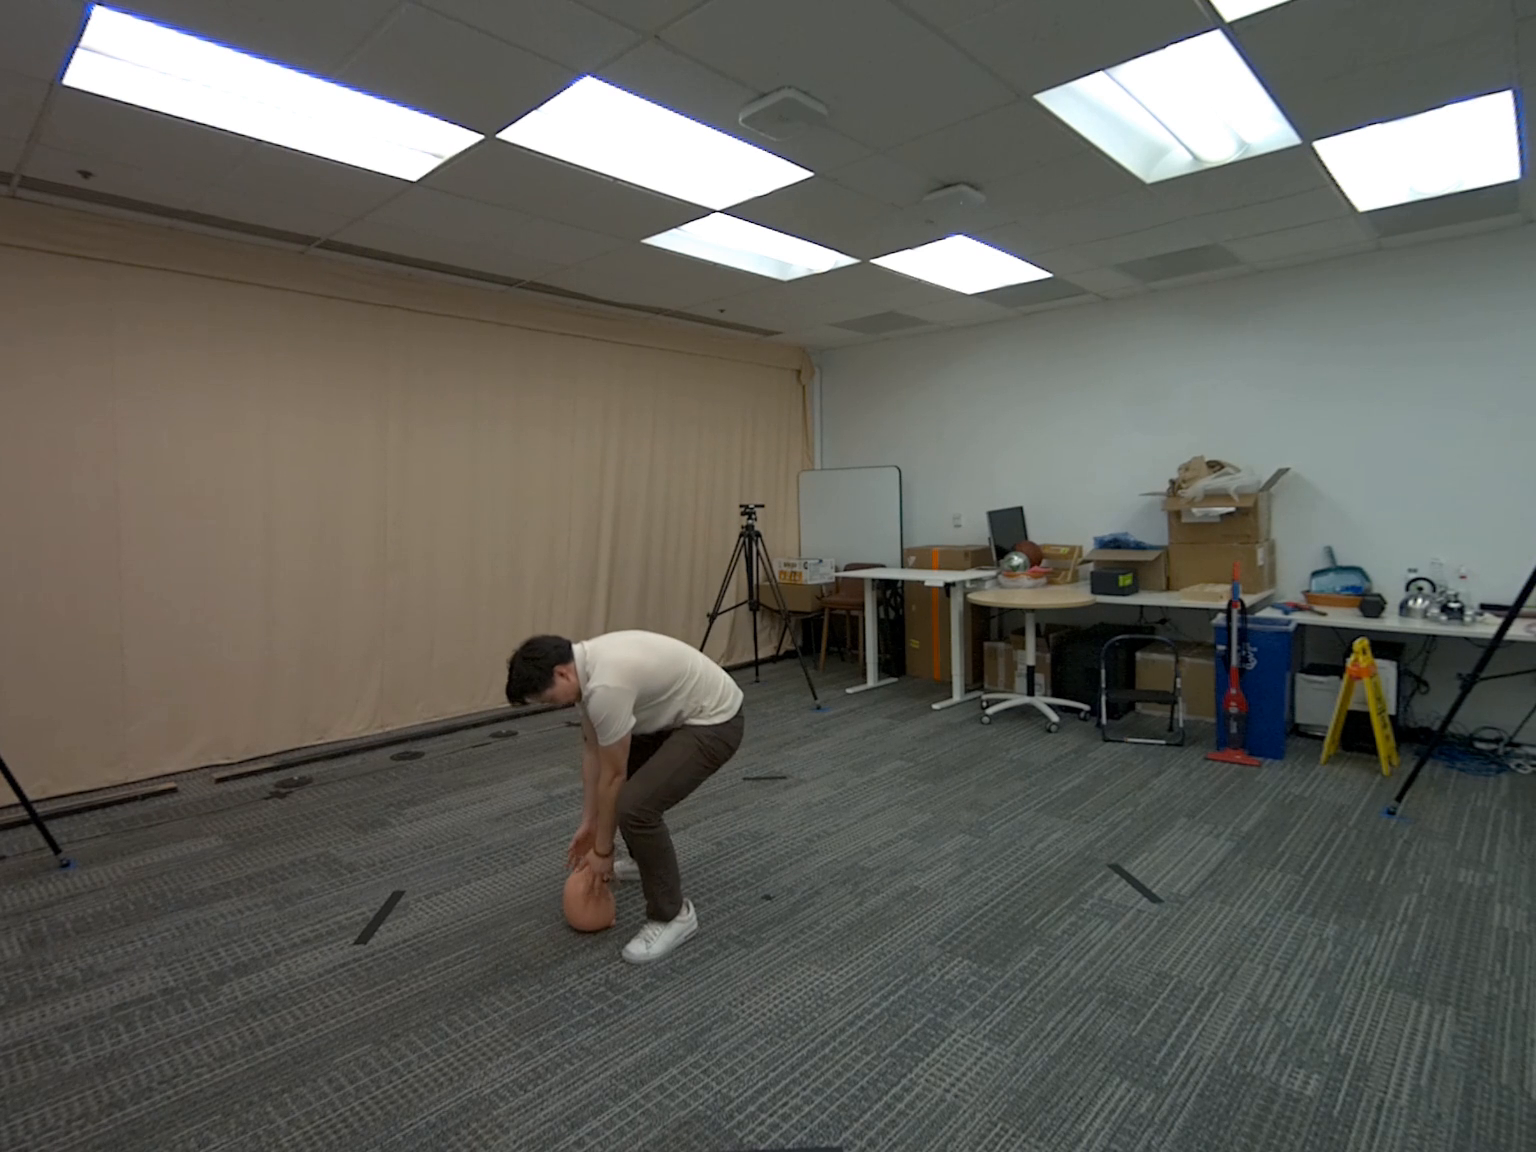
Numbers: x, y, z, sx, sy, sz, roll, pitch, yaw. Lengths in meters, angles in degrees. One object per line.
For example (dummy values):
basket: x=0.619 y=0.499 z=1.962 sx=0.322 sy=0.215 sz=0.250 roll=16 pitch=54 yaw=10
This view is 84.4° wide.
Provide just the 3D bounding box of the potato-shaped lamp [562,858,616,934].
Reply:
potato-shaped lamp: x=-0.596 y=1.060 z=2.805 sx=0.169 sy=0.197 sz=0.168 roll=-6 pitch=6 yaw=-16
